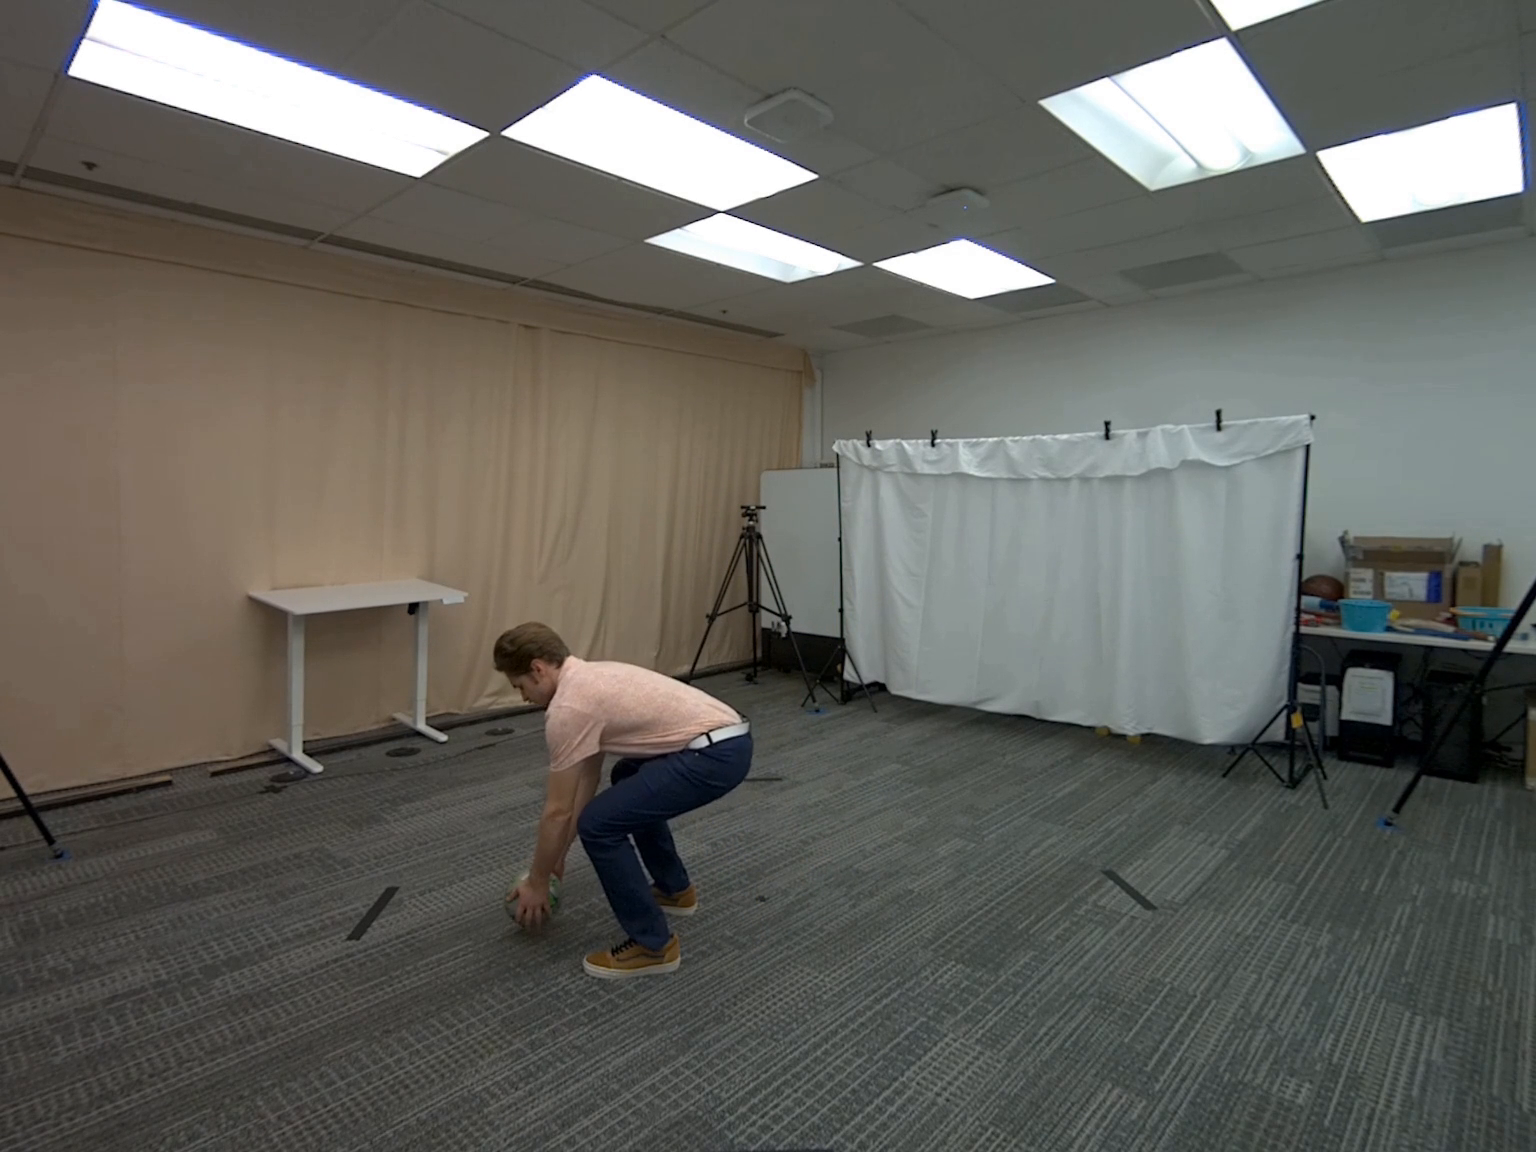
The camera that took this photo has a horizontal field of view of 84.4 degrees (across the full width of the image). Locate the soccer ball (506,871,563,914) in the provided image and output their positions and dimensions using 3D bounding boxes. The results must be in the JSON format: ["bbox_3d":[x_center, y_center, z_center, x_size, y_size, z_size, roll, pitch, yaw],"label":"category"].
[{"bbox_3d":[-0.765,1.027,2.738,0.187,0.187,0.188,0,4,-2],"label":"soccer ball"}]
